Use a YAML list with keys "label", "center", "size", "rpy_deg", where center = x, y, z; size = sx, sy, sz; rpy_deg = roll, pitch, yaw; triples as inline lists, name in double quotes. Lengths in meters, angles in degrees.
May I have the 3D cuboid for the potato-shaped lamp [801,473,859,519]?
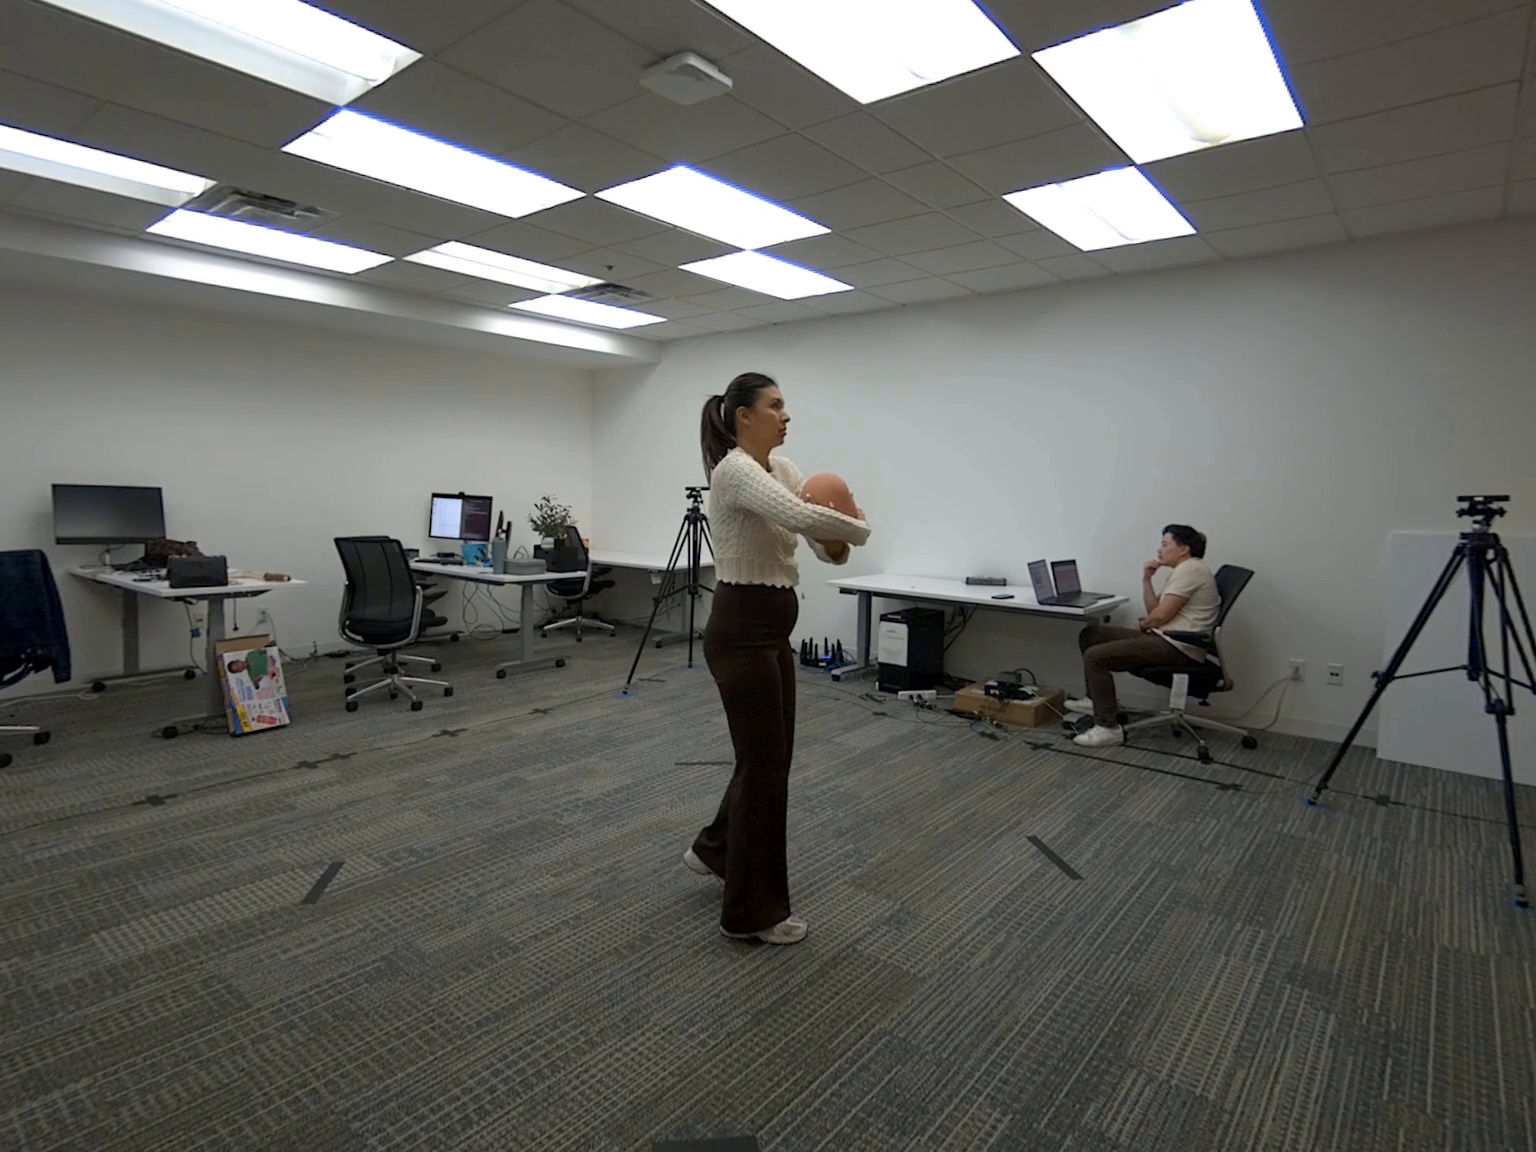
- label: "potato-shaped lamp"
  center: [0.159, -0.202, 2.455]
  size: [0.169, 0.192, 0.172]
  rpy_deg: [13, 44, 20]
